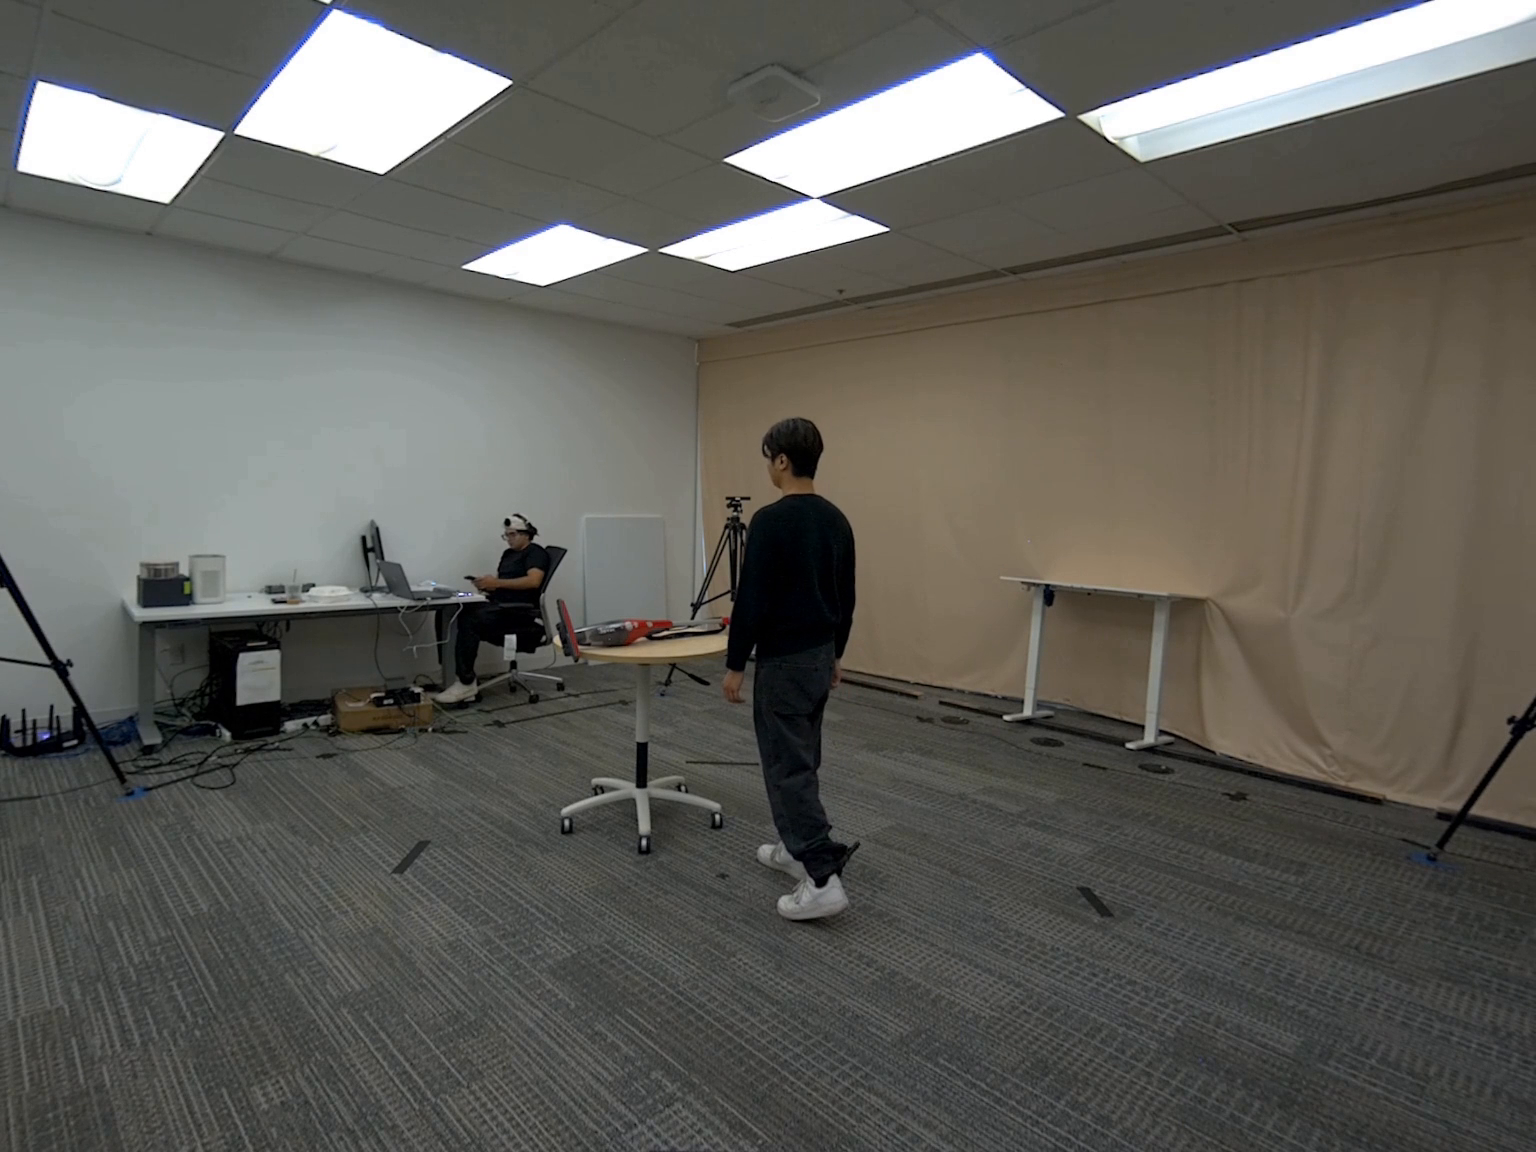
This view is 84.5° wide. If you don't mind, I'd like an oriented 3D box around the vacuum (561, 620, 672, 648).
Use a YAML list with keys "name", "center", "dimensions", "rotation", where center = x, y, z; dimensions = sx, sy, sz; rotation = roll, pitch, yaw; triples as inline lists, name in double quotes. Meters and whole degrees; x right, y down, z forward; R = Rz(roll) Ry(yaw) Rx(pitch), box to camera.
- name: "vacuum"
  center: [-0.435, 0.233, 3.606]
  dimensions: [1.024, 0.257, 0.145]
  rotation: [0, -30, -47]
